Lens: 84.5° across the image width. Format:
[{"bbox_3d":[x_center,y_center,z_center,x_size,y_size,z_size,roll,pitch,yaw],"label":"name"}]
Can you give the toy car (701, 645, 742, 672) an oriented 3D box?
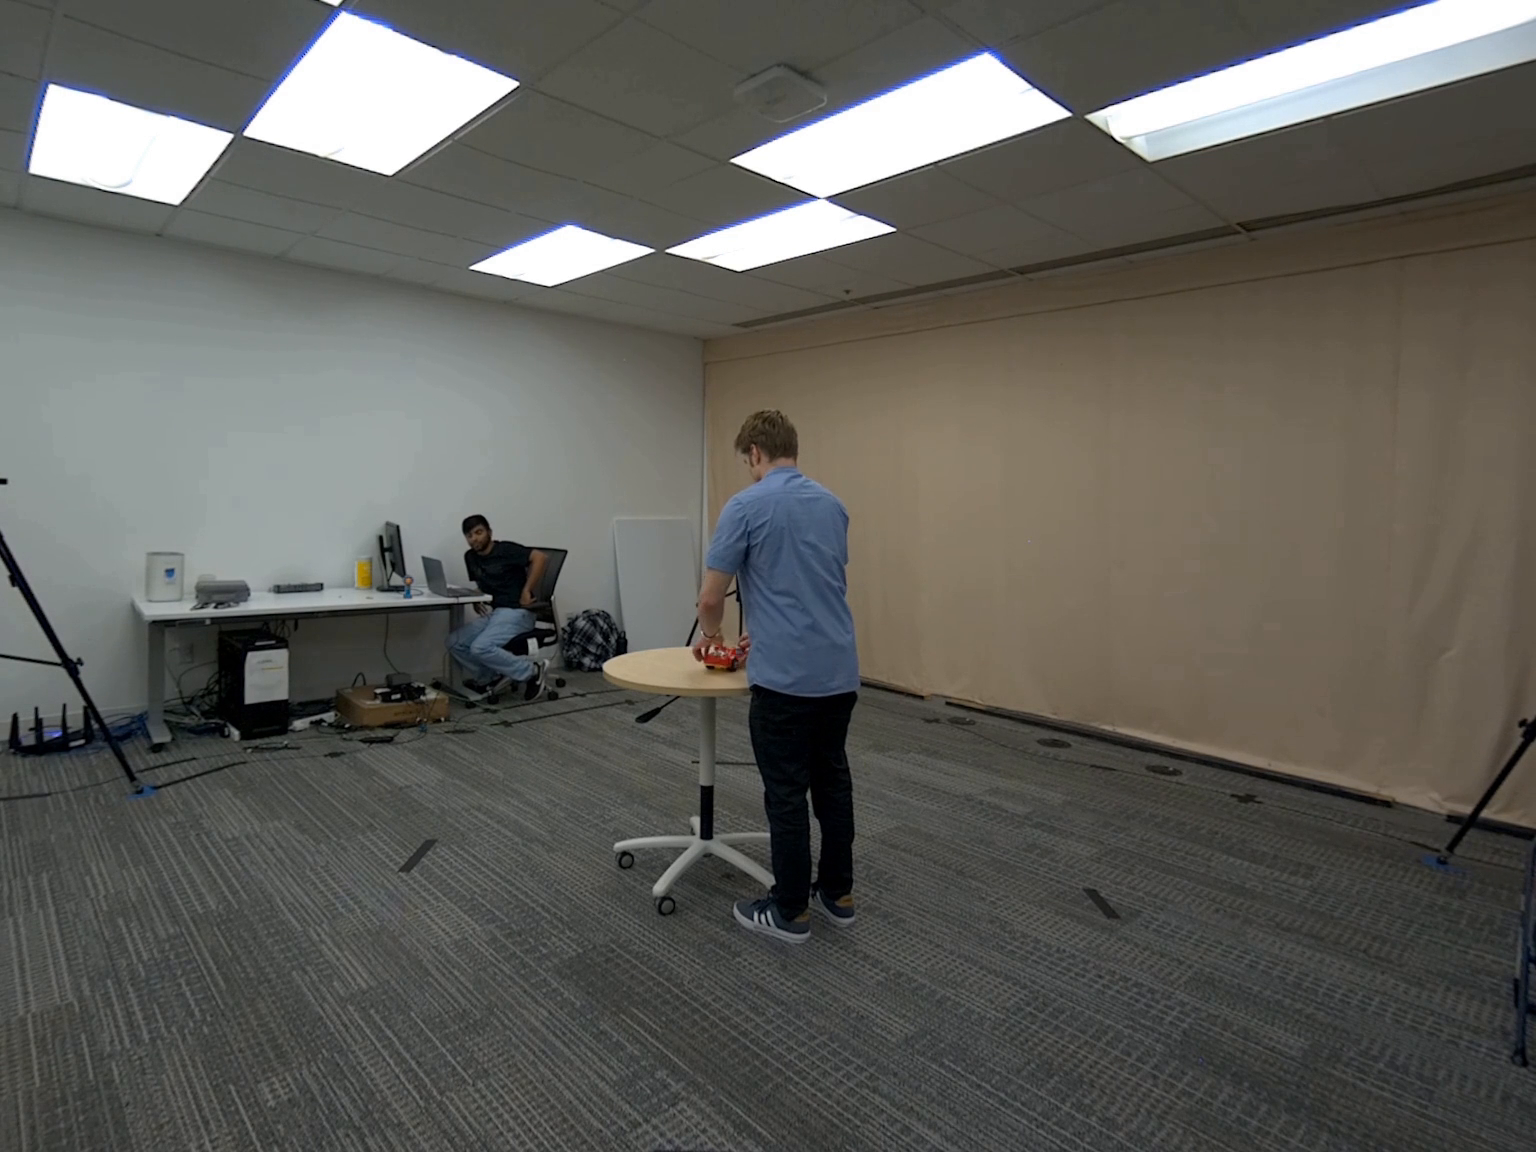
[{"bbox_3d":[-0.152,0.299,3.023,0.133,0.083,0.248,2,-6,25],"label":"toy car"}]
